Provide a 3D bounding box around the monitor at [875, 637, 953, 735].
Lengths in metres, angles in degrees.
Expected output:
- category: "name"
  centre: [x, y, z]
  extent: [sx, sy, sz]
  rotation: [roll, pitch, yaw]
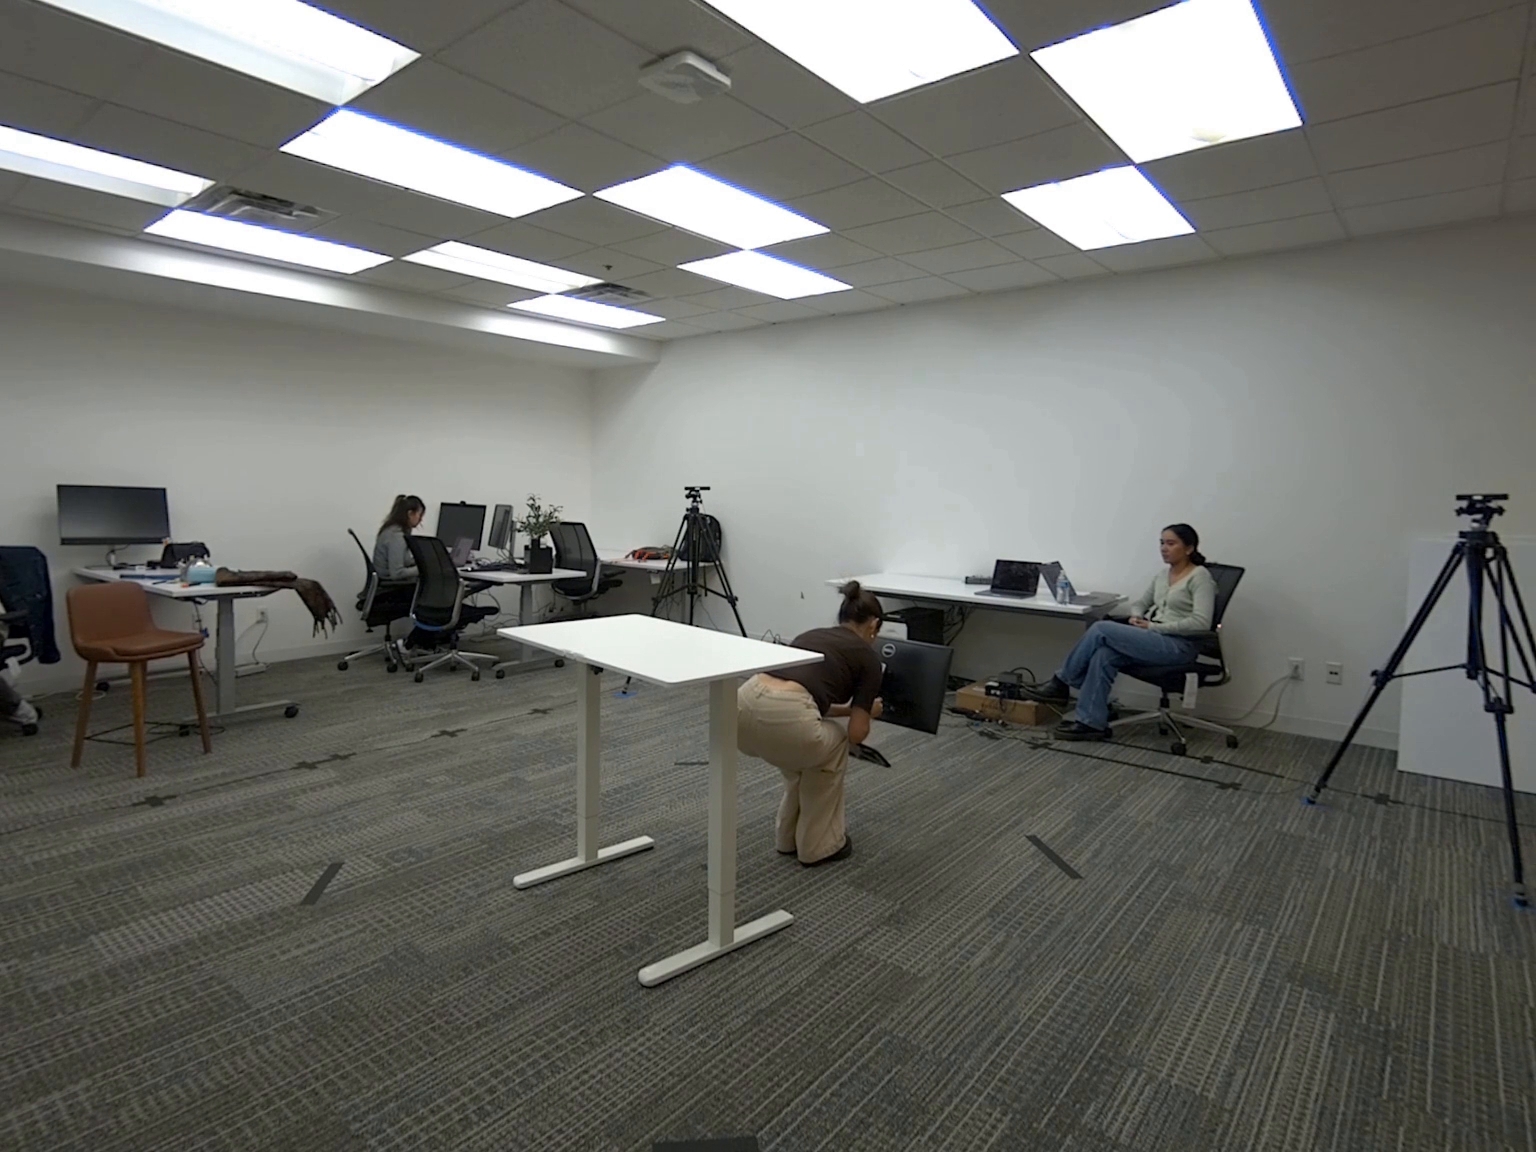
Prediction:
- category: "monitor"
  centre: [0.439, 0.488, 3.501]
  extent: [0.558, 0.527, 0.179]
  rotation: [9, -26, 37]
